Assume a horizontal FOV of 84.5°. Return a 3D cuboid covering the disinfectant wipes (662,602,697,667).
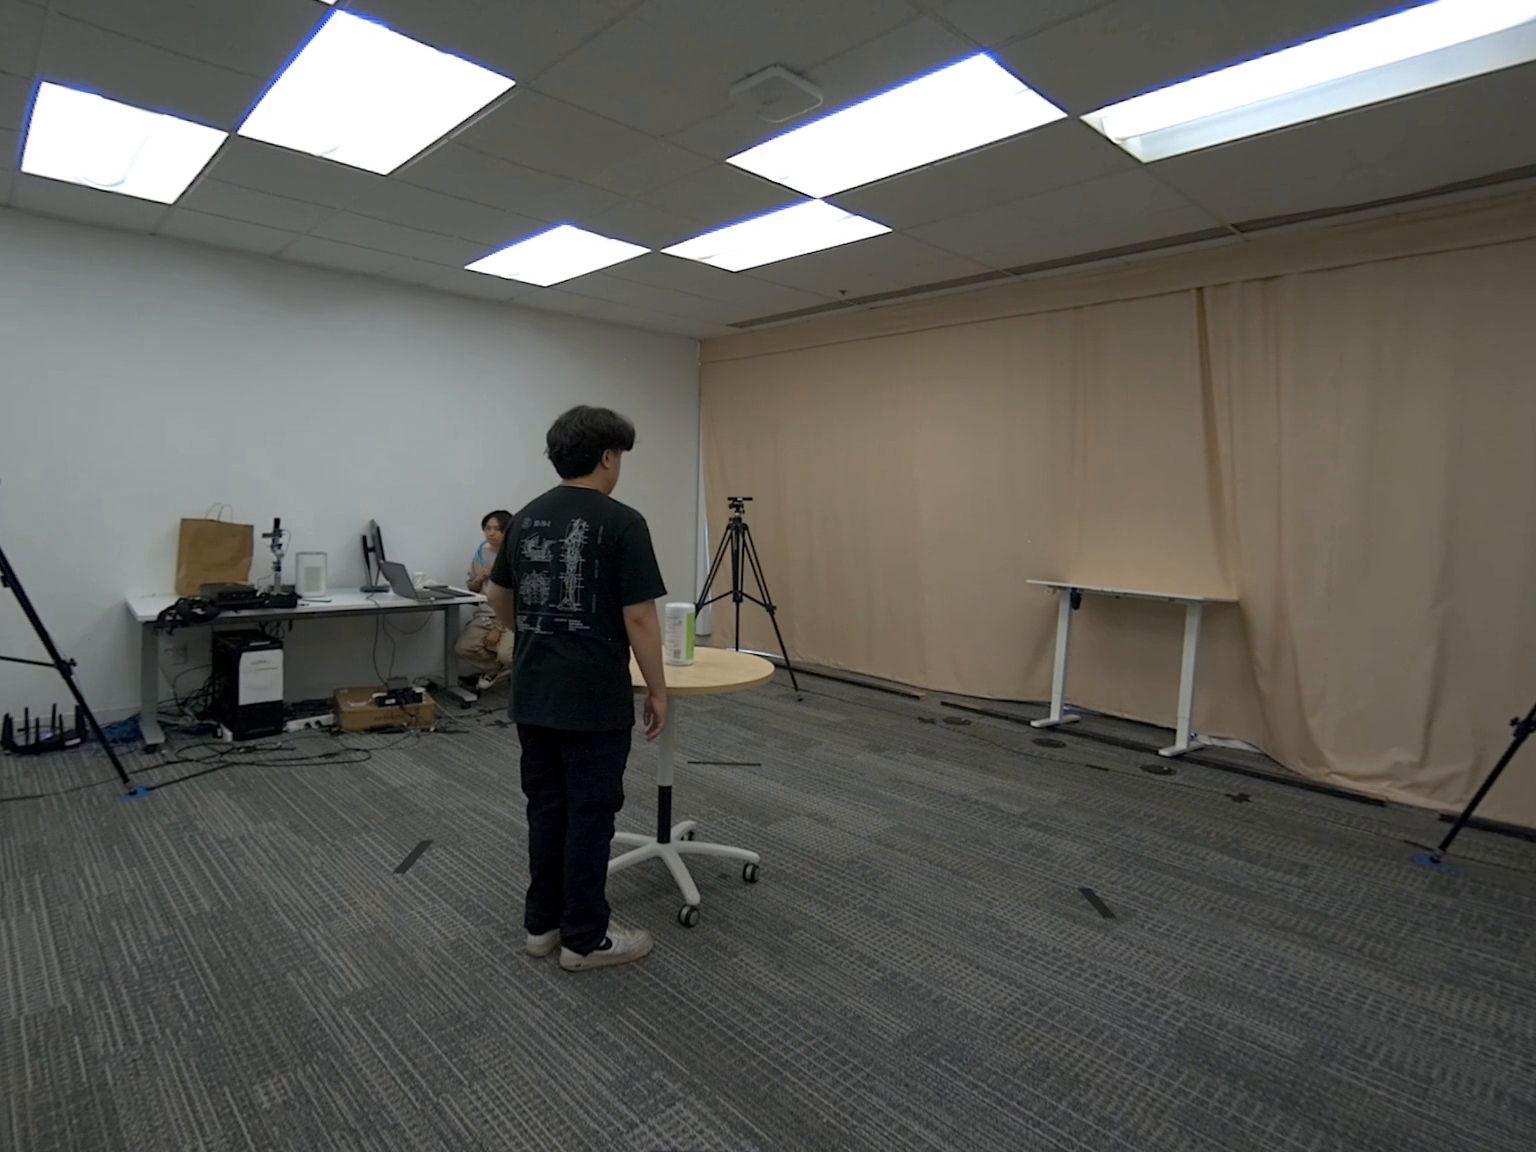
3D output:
[{"bbox_3d":[-0.328,0.211,3.035,0.118,0.217,0.118,2,3,-2],"label":"disinfectant wipes"}]
